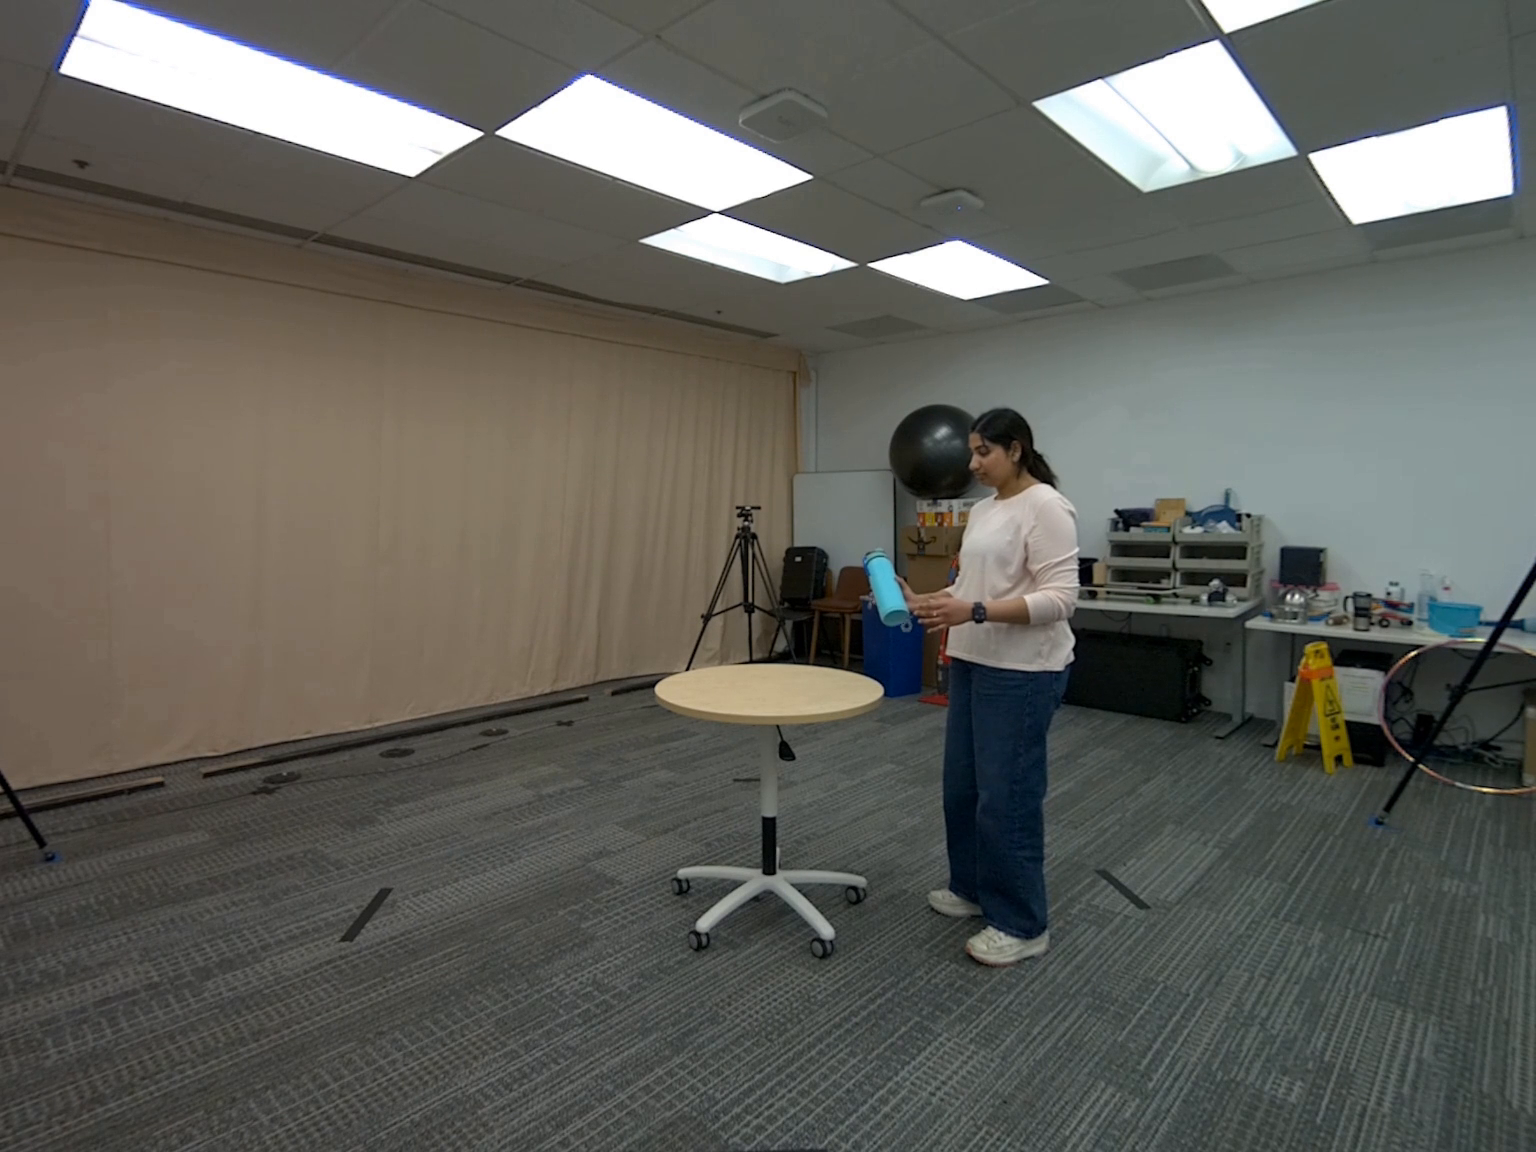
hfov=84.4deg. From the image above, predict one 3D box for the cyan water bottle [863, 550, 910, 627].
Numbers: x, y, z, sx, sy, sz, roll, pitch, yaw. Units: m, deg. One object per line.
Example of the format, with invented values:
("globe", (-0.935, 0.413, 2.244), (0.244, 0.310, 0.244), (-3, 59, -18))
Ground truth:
("cyan water bottle", (0.392, 0.027, 2.777), (0.092, 0.290, 0.091), (-5, -40, -6))
